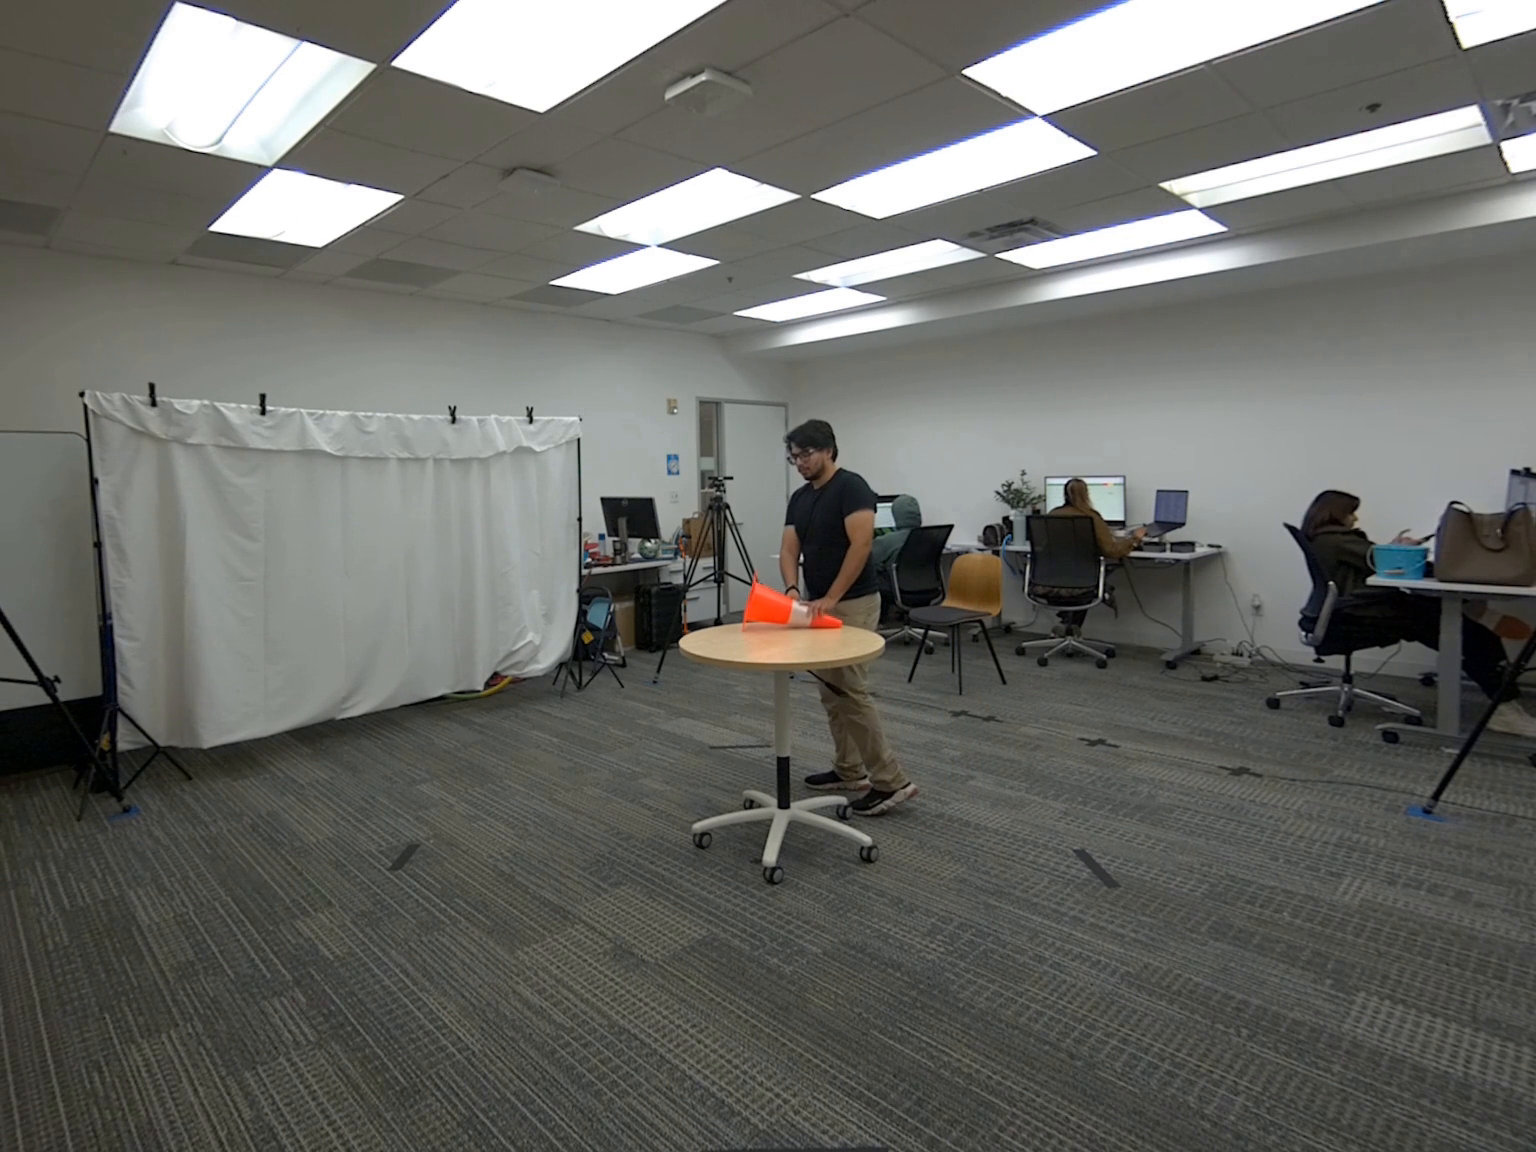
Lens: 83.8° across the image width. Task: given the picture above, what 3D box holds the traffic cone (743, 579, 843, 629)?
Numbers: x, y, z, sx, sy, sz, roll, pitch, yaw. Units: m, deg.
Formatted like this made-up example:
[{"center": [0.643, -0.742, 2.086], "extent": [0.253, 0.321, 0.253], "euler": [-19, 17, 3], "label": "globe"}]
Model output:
[{"center": [0.110, 0.148, 3.416], "extent": [0.383, 0.202, 0.206], "euler": [14, 24, -1], "label": "traffic cone"}]
